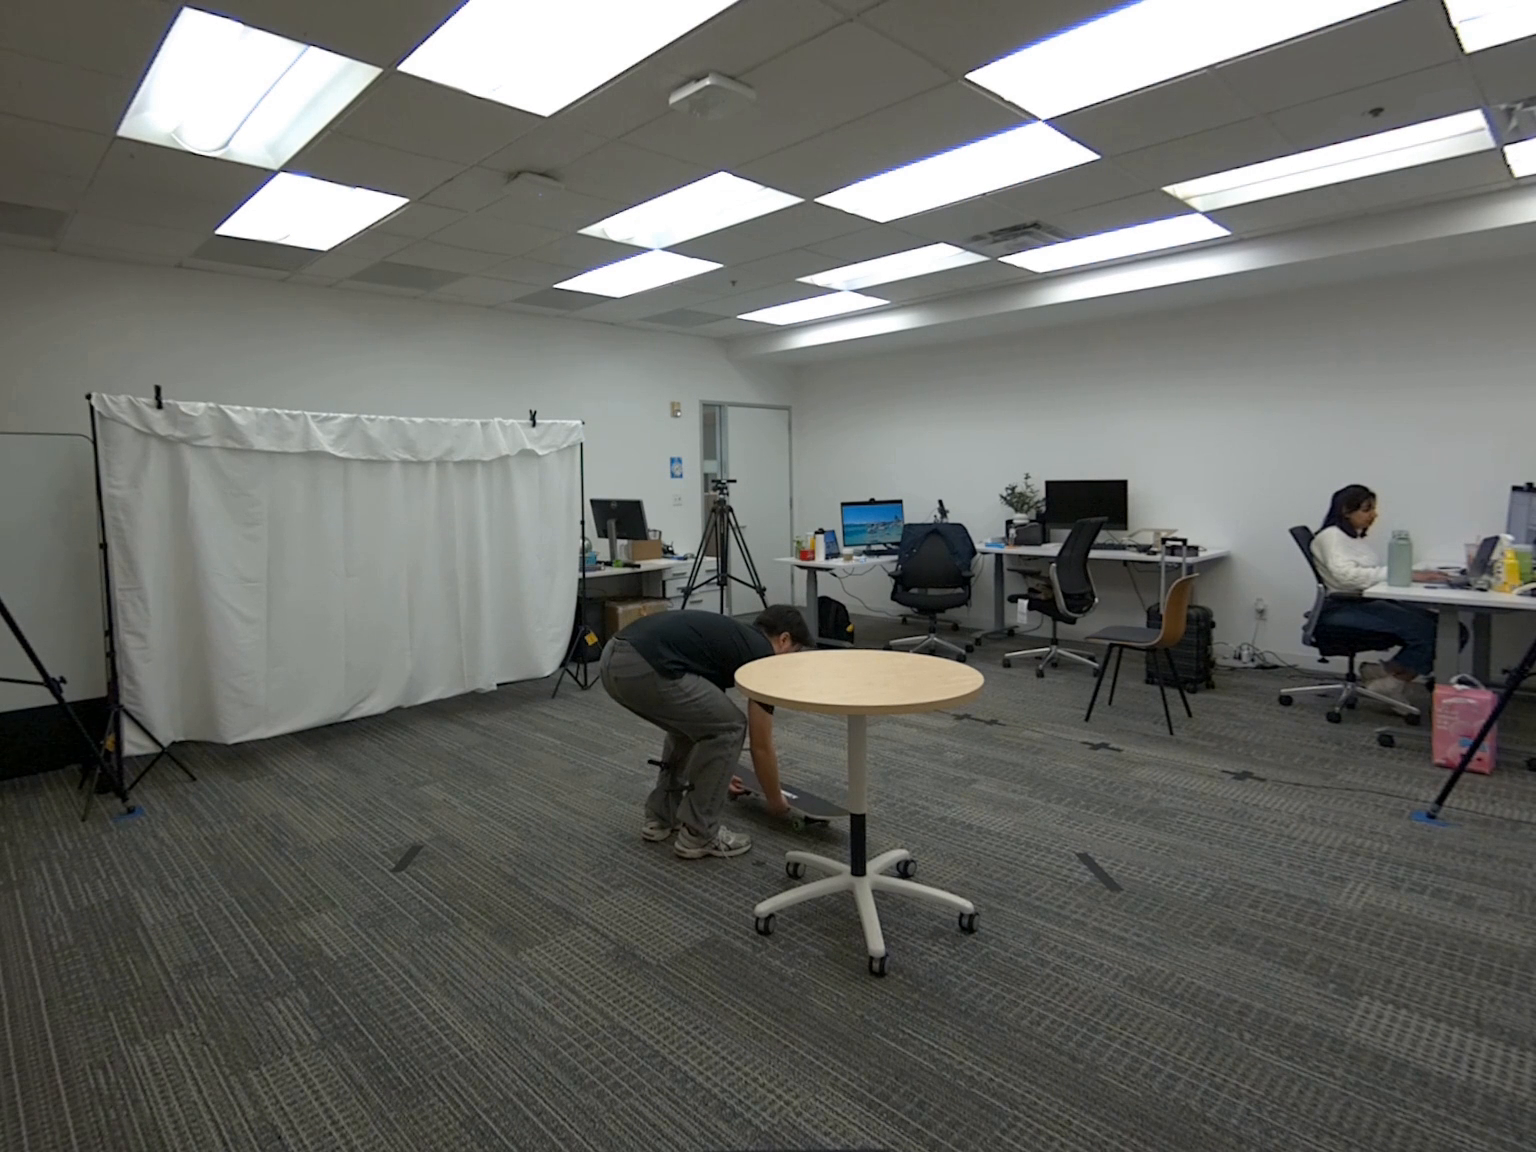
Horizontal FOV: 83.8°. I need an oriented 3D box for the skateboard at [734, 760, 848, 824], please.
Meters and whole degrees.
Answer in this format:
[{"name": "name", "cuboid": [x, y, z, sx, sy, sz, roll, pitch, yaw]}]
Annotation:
[{"name": "skateboard", "cuboid": [0.046, 0.924, 3.549, 0.188, 0.110, 0.810, 1, 5, -41]}]
